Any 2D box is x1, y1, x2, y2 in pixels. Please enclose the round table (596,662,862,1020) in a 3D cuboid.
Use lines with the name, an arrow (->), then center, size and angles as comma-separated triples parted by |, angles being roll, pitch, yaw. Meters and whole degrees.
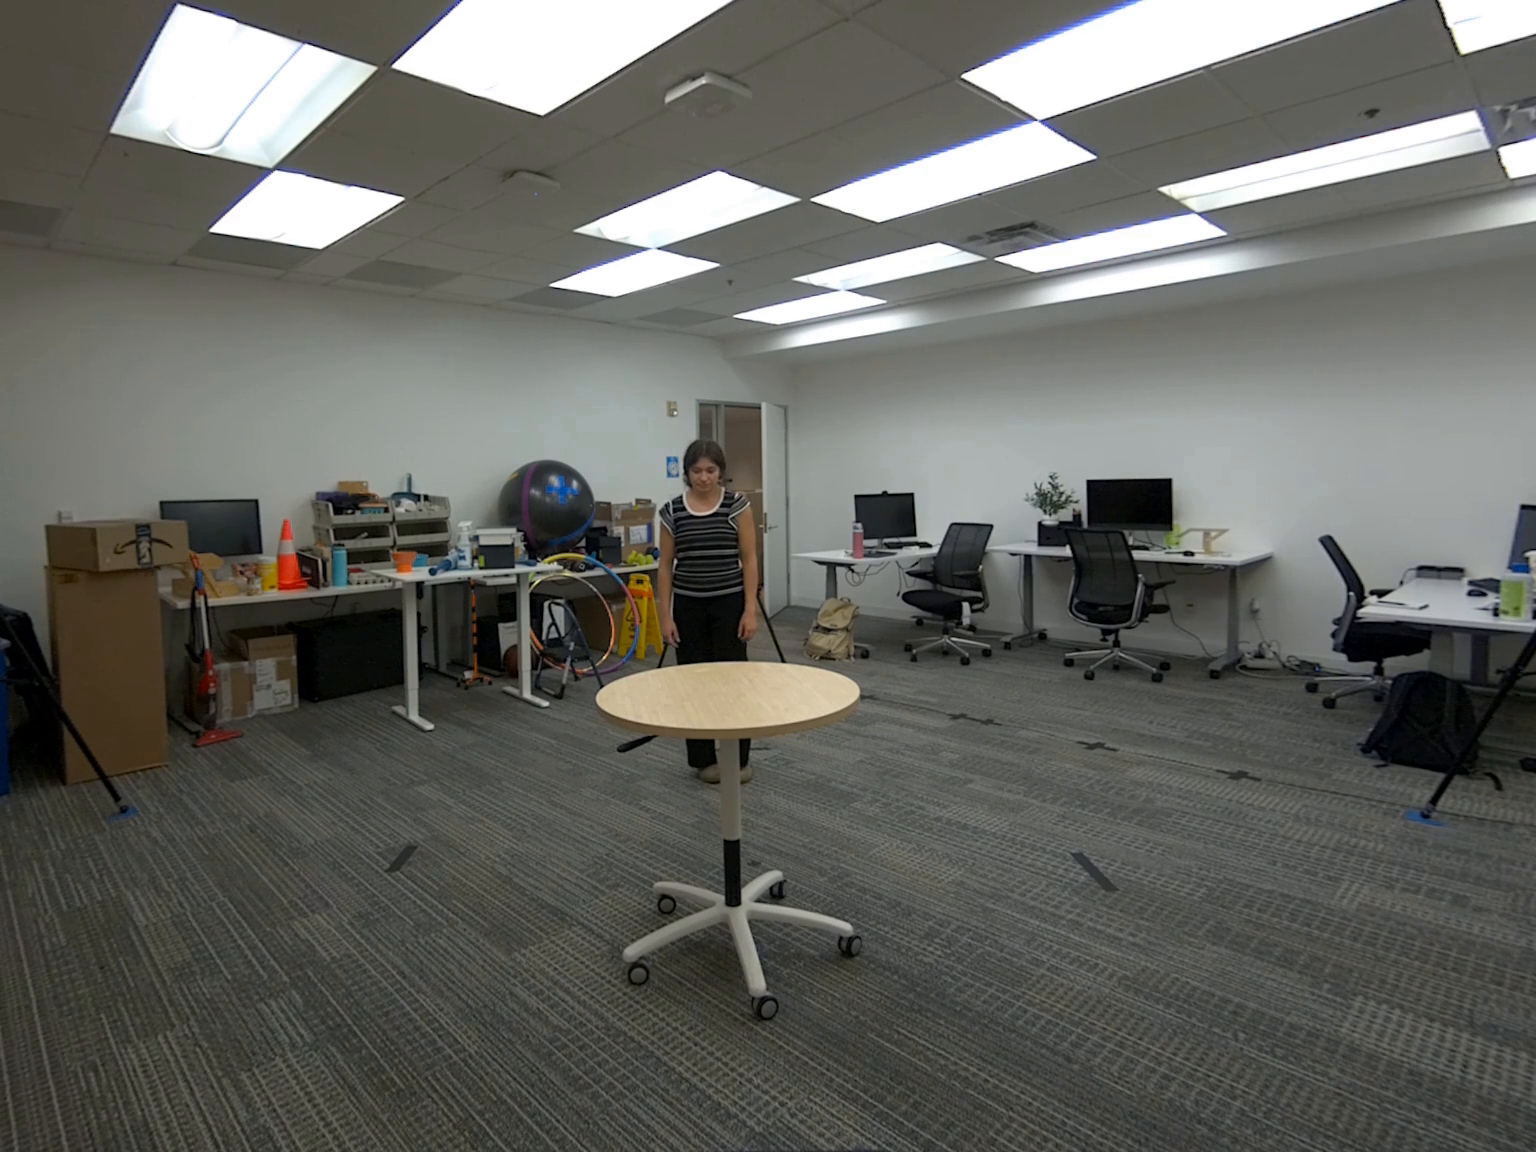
round table -> -0.121, 0.725, 2.522 | 0.784, 0.783, 0.789 | -1, 5, -2
